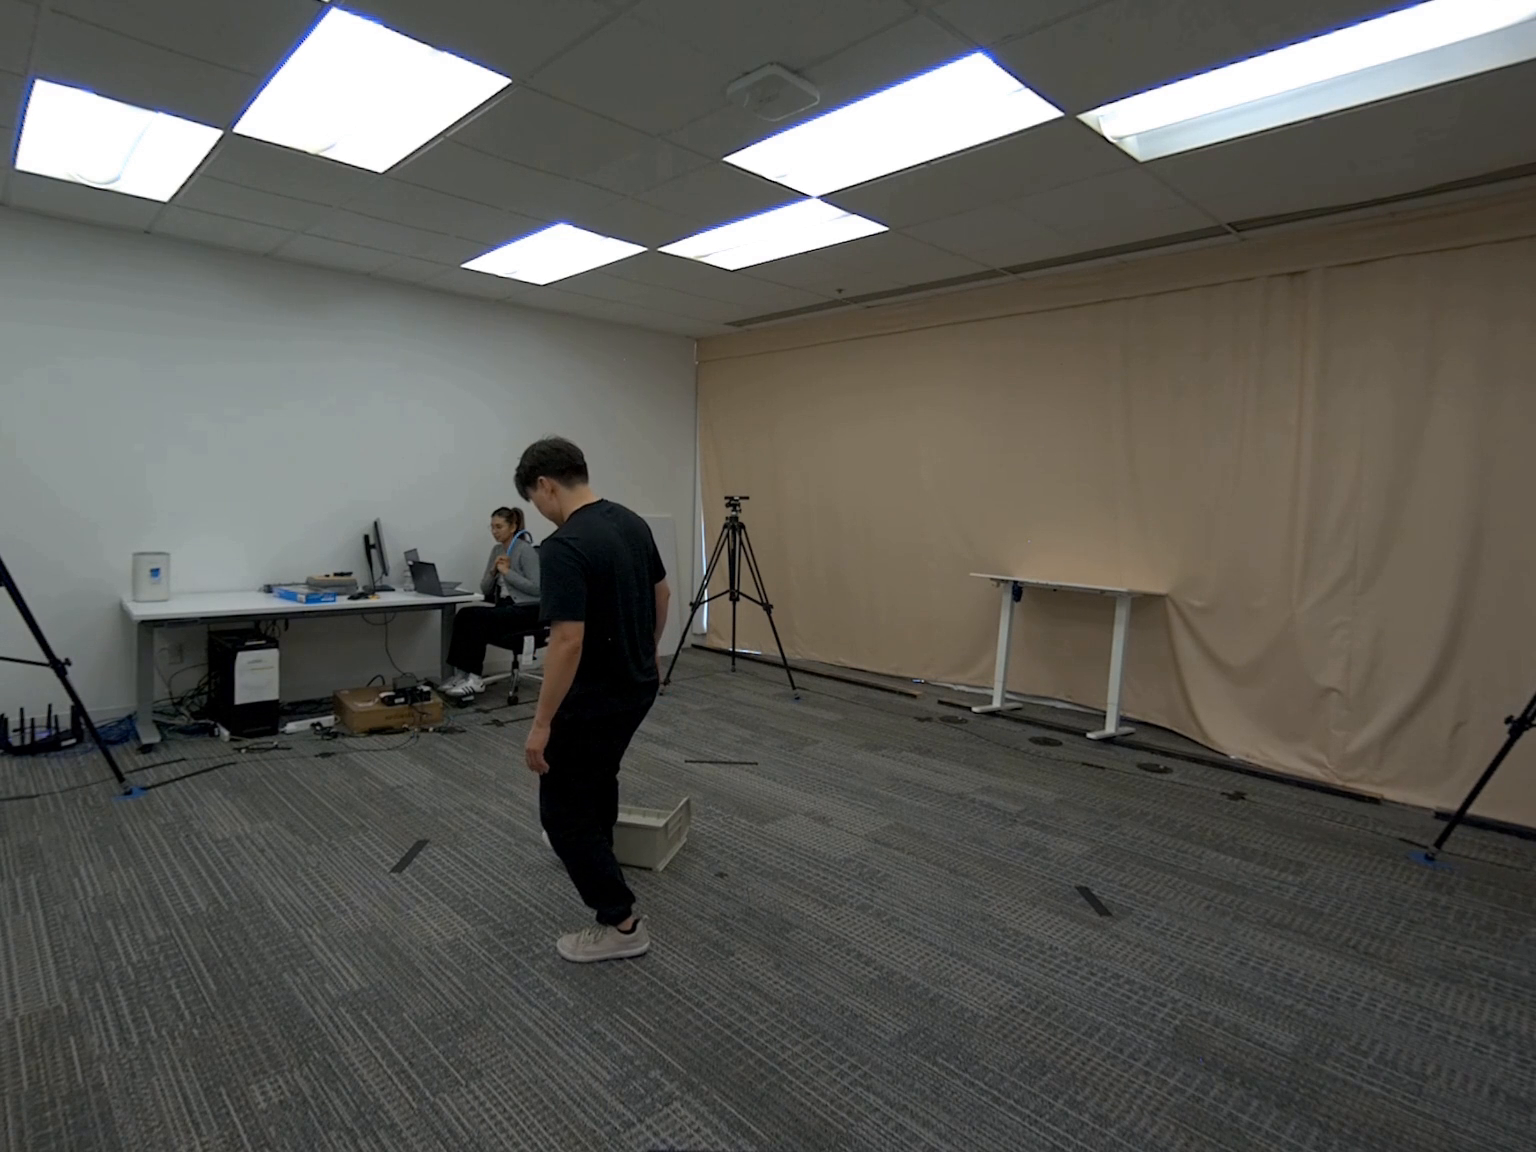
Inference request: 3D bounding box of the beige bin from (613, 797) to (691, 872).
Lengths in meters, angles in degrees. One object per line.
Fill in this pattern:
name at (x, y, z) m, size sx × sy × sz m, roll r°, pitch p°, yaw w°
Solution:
beige bin at (-0.566, 0.988, 3.331) m, size 0.427 × 0.188 × 0.374 m, roll 3°, pitch 5°, yaw 14°
